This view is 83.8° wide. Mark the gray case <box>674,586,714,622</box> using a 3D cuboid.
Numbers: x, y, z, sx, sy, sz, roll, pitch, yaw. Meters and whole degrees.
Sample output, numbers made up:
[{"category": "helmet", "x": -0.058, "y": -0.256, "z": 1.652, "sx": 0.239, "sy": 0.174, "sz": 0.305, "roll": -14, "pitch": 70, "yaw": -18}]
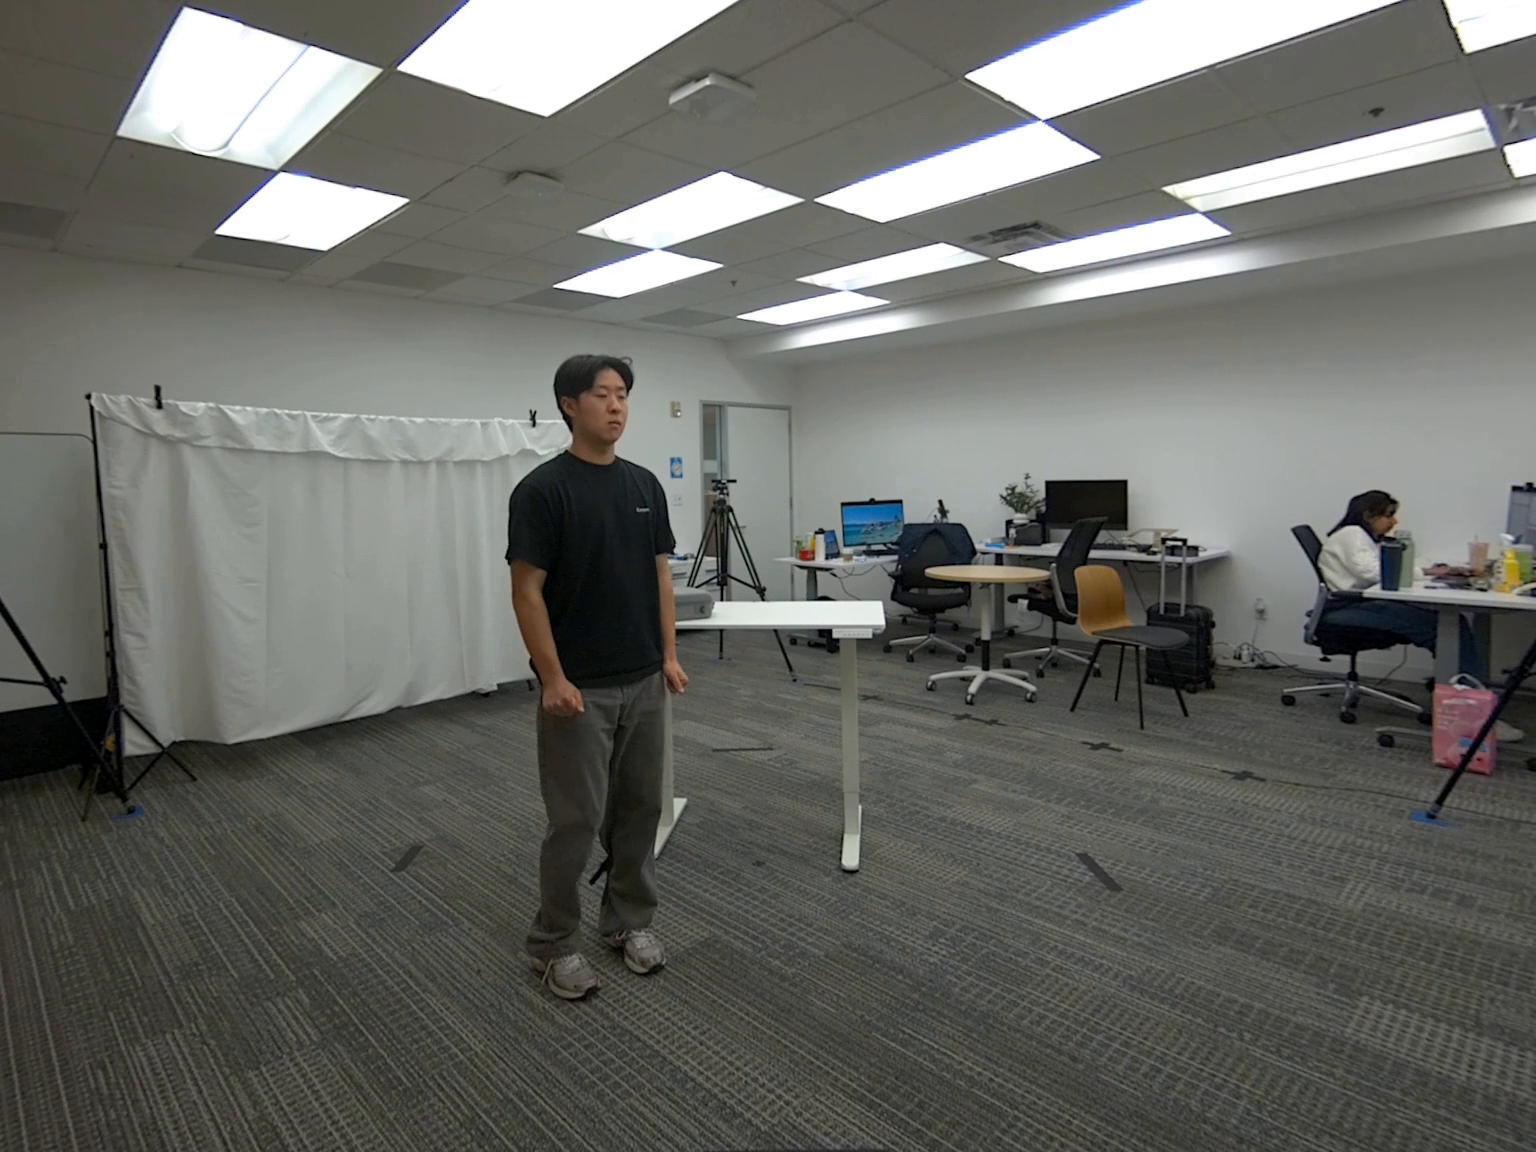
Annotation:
[{"category": "gray case", "x": -0.362, "y": 0.096, "z": 3.269, "sx": 0.259, "sy": 0.102, "sz": 0.294, "roll": -3, "pitch": 8, "yaw": -19}]
